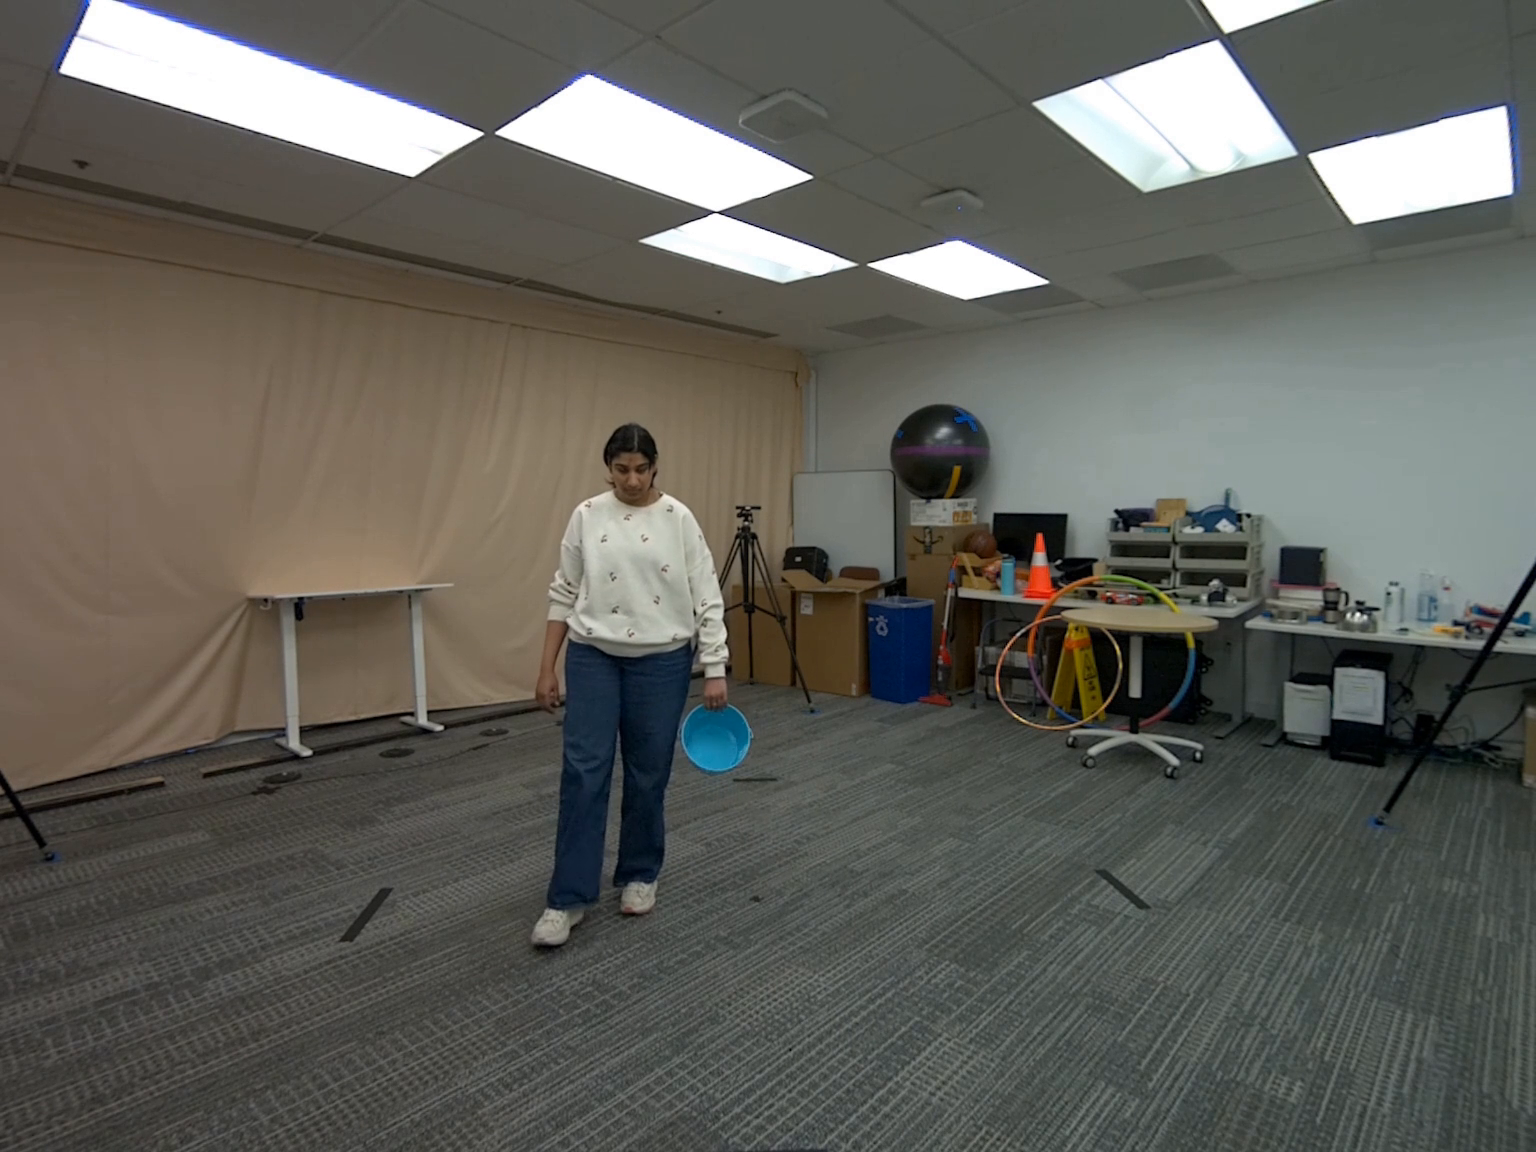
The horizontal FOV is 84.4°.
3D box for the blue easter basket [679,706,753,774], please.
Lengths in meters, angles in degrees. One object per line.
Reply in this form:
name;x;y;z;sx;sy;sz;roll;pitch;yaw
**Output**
blue easter basket;-0.176;0.551;2.844;0.243;0.247;0.153;0;-28;-1
